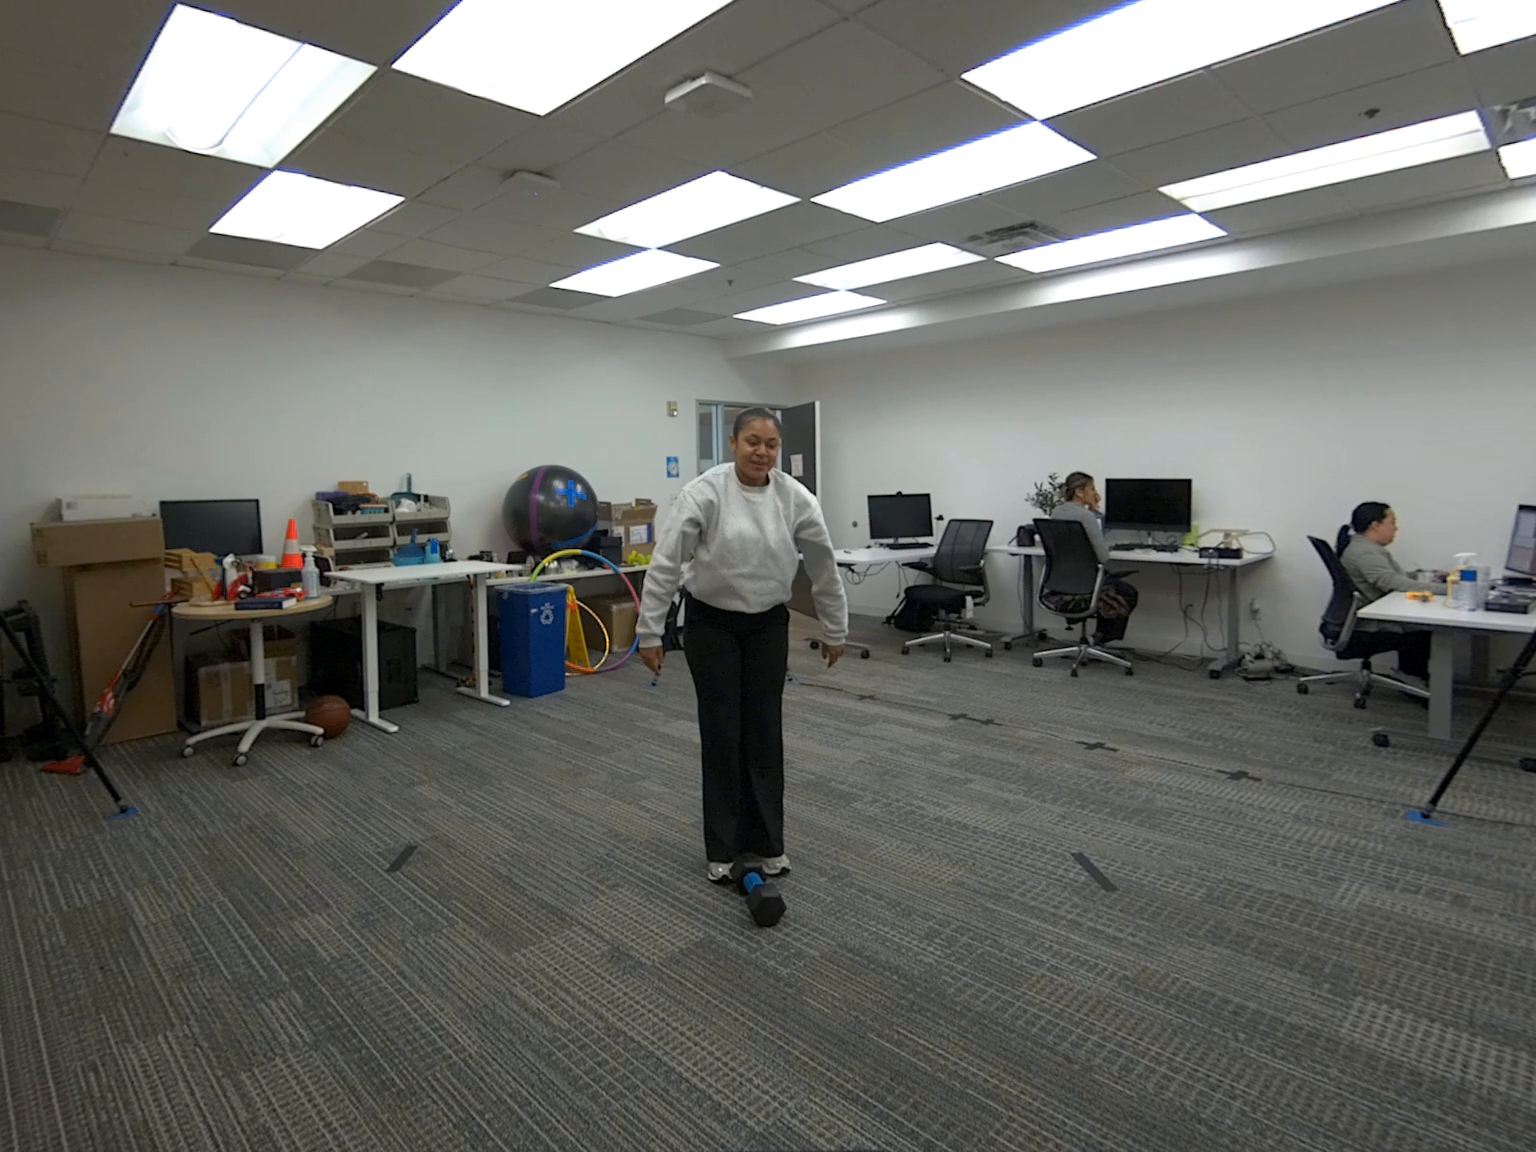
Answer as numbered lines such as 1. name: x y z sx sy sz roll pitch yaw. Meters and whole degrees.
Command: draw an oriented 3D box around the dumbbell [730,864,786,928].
1. dumbbell: -0.040 1.033 2.794 0.107 0.123 0.299 29 -3 -16
